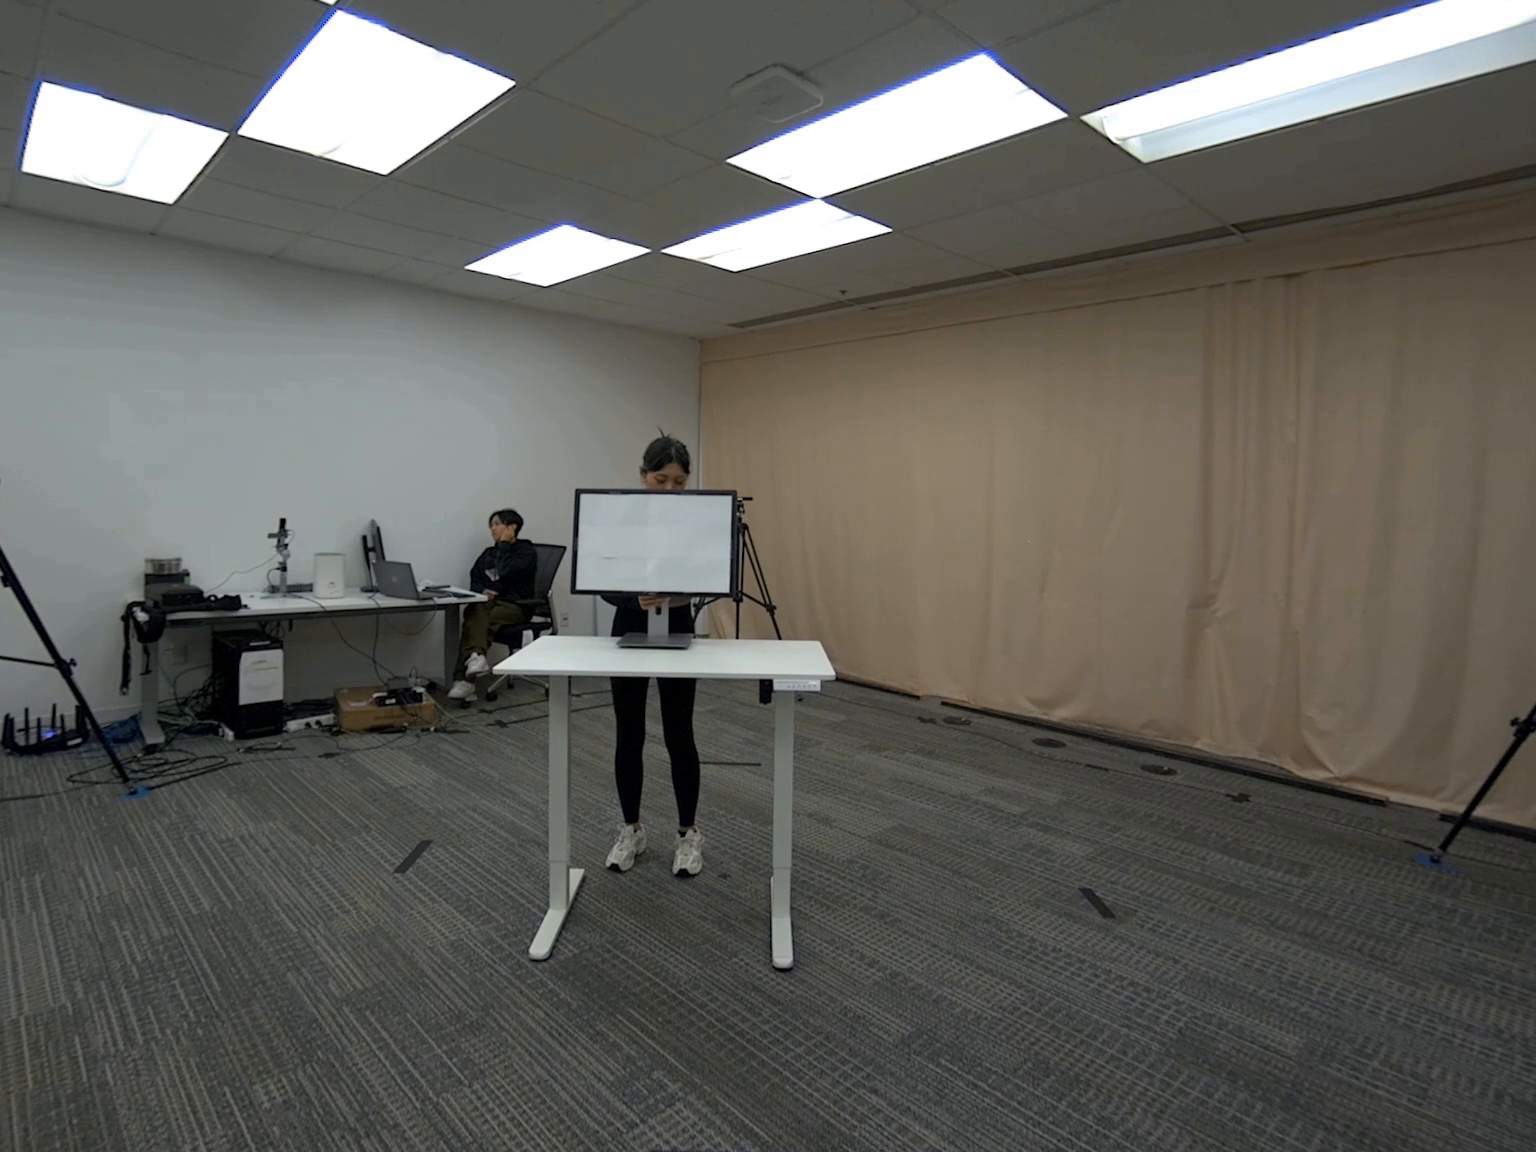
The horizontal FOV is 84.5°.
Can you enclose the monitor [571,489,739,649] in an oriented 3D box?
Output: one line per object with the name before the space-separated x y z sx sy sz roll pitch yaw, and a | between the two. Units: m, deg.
monitor | -0.388 -0.023 2.891 0.540 0.520 0.187 0 6 3
